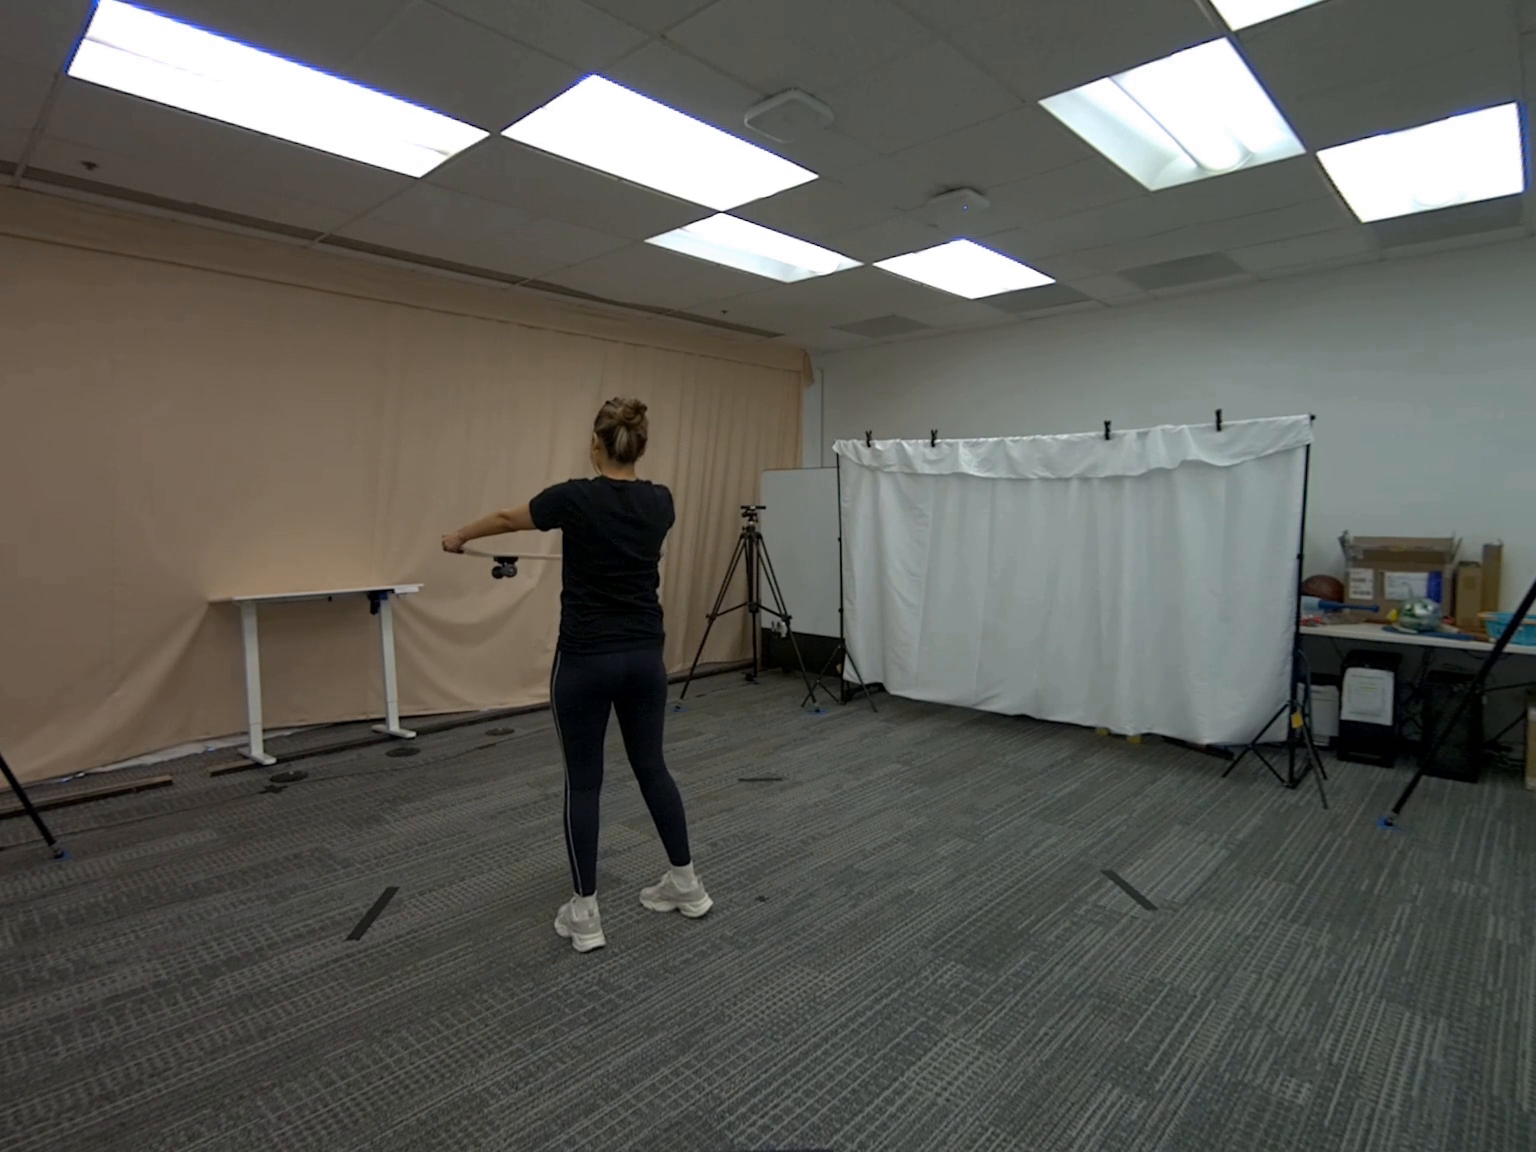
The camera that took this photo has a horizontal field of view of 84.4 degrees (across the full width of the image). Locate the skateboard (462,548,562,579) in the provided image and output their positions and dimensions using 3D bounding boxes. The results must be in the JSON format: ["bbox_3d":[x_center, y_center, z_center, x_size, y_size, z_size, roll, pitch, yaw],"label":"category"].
[{"bbox_3d":[-0.798,-0.035,3.166,0.765,0.111,0.198,2,-5,-27],"label":"skateboard"}]
